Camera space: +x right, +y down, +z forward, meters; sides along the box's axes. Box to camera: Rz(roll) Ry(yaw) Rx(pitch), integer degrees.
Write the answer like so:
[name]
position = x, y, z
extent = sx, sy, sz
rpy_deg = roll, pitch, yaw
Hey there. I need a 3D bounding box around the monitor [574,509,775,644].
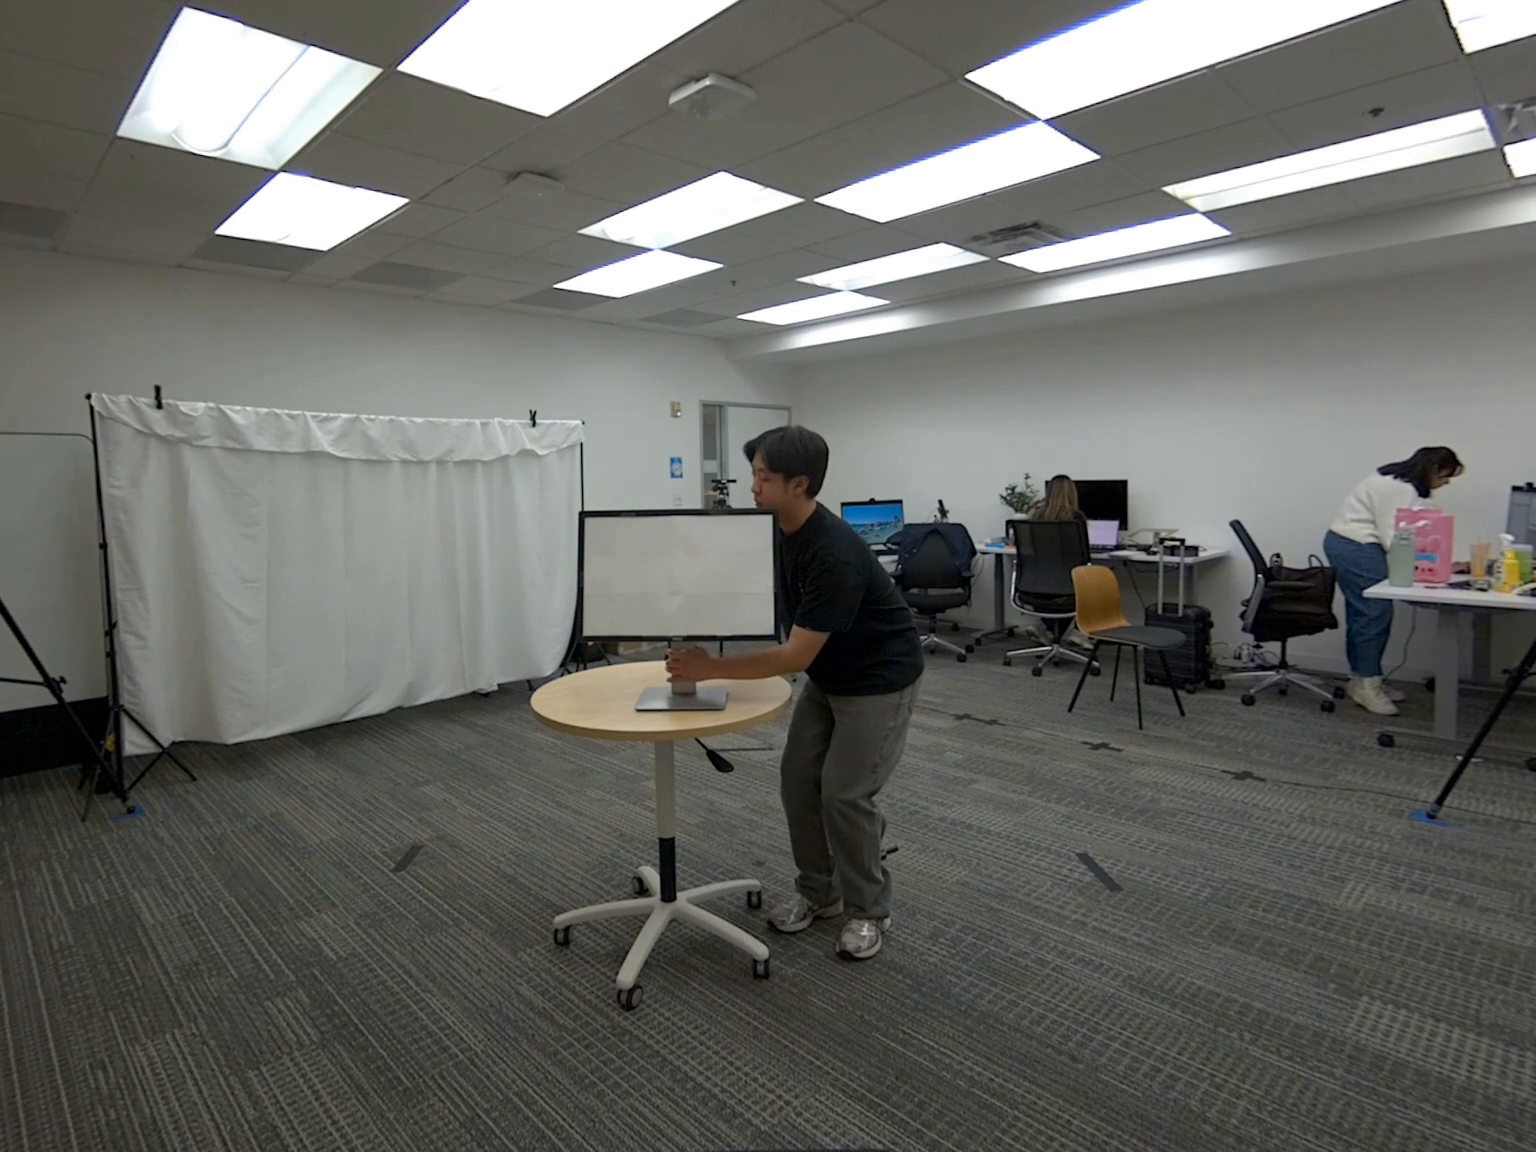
[monitor]
position = -0.239, 0.093, 2.382
extent = 0.564, 0.562, 0.223
rpy_deg = -1, 7, 4
